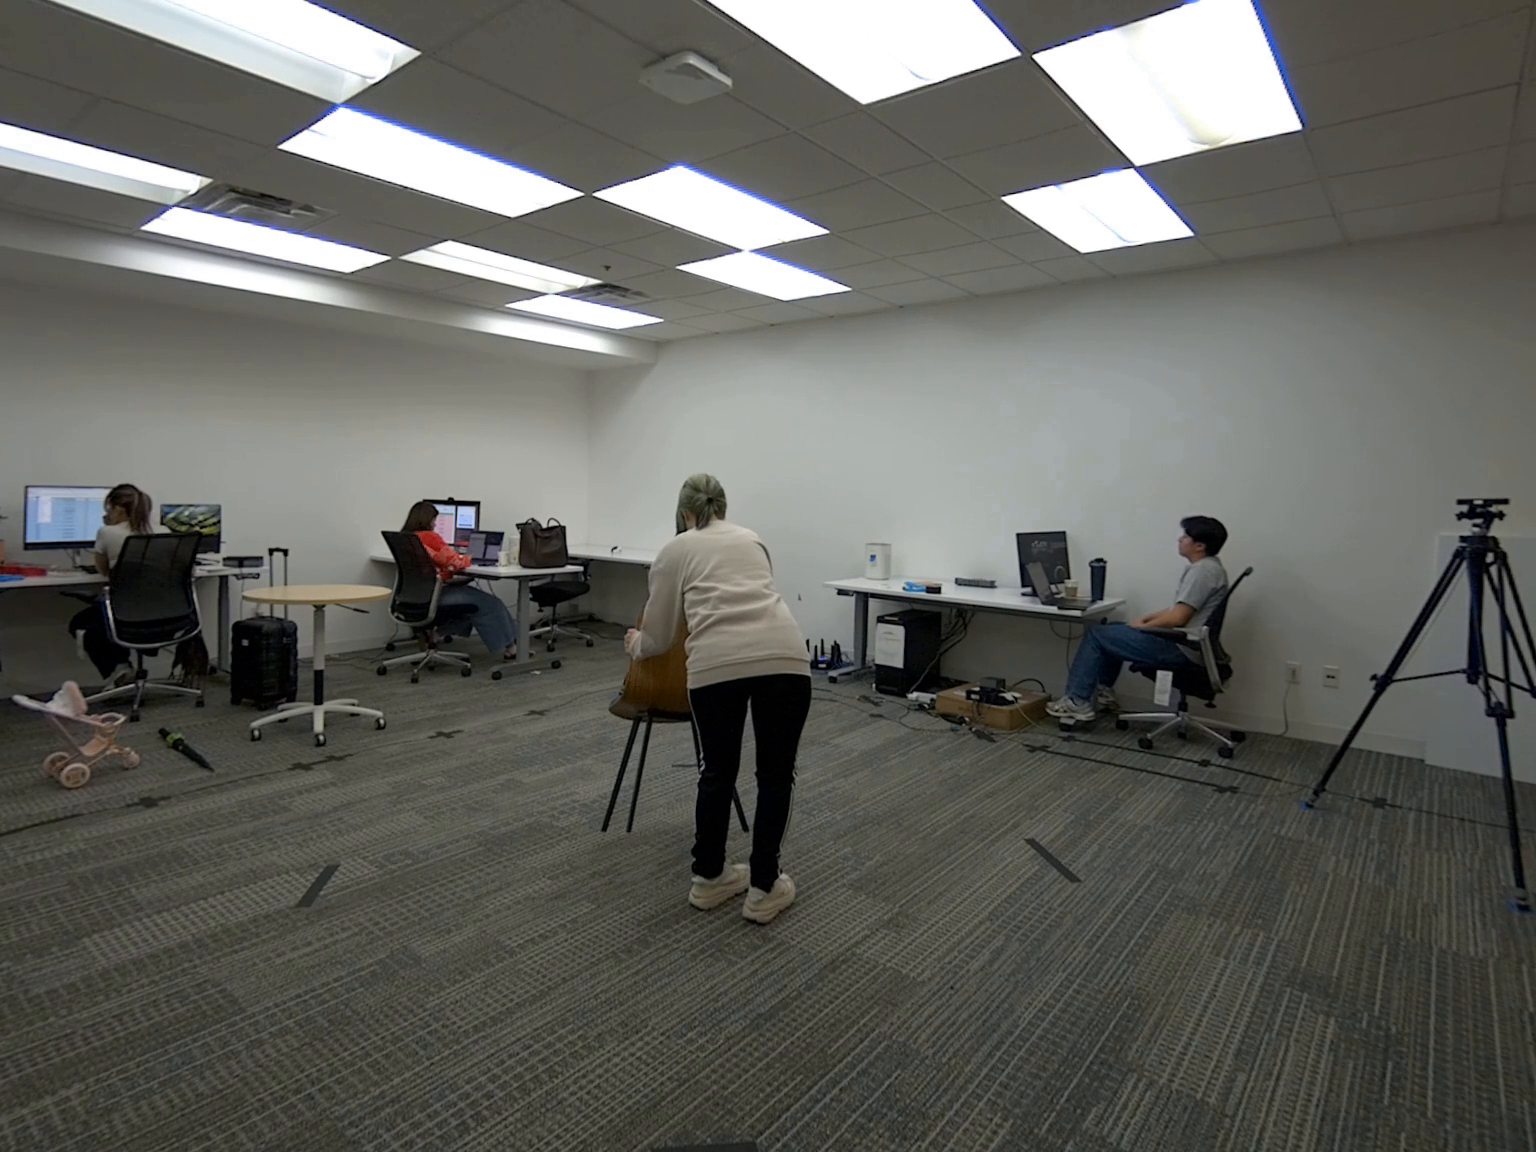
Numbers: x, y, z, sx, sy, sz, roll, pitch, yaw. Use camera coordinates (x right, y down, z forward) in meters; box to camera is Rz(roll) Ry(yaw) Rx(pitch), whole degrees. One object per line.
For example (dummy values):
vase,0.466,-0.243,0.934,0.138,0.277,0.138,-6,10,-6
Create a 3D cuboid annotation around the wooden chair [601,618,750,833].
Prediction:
wooden chair,-0.381,0.547,3.327,0.468,0.889,0.527,5,-14,-20
